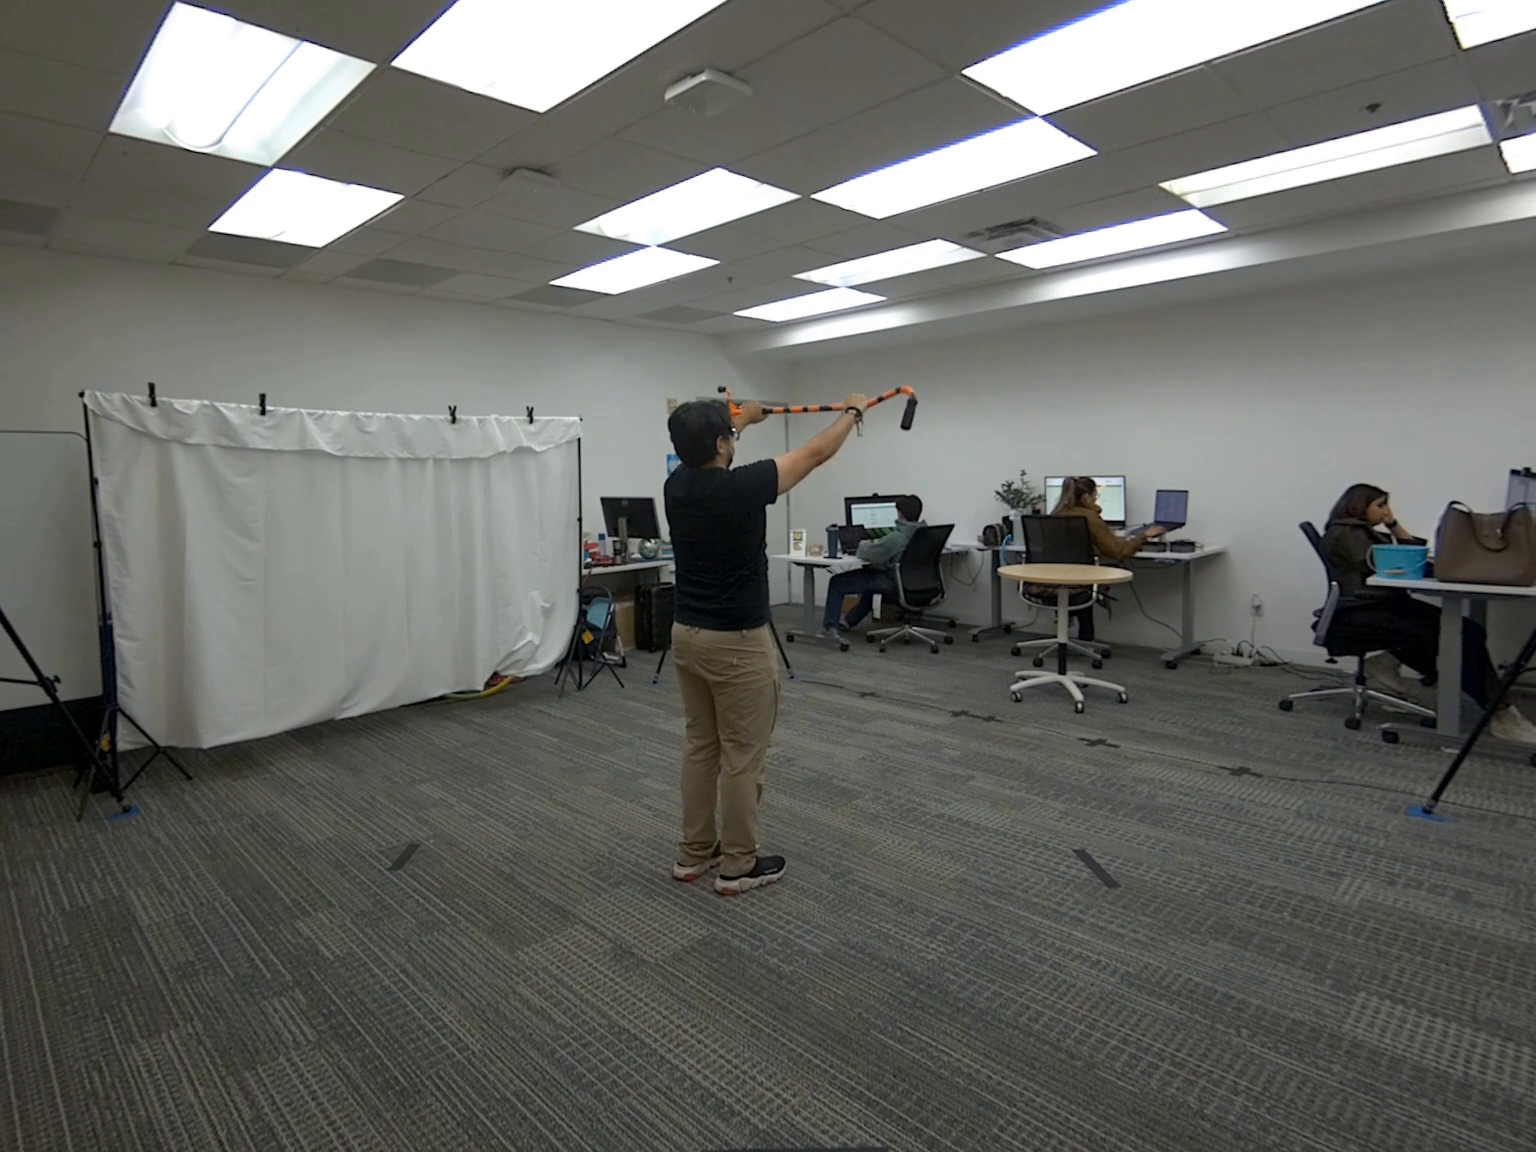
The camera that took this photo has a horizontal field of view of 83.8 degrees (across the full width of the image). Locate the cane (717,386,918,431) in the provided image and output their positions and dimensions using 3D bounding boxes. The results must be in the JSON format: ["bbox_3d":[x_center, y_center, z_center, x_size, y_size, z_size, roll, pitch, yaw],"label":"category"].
[{"bbox_3d":[0.157,-0.623,3.226,0.937,0.208,0.146,6,-20,41],"label":"cane"}]
